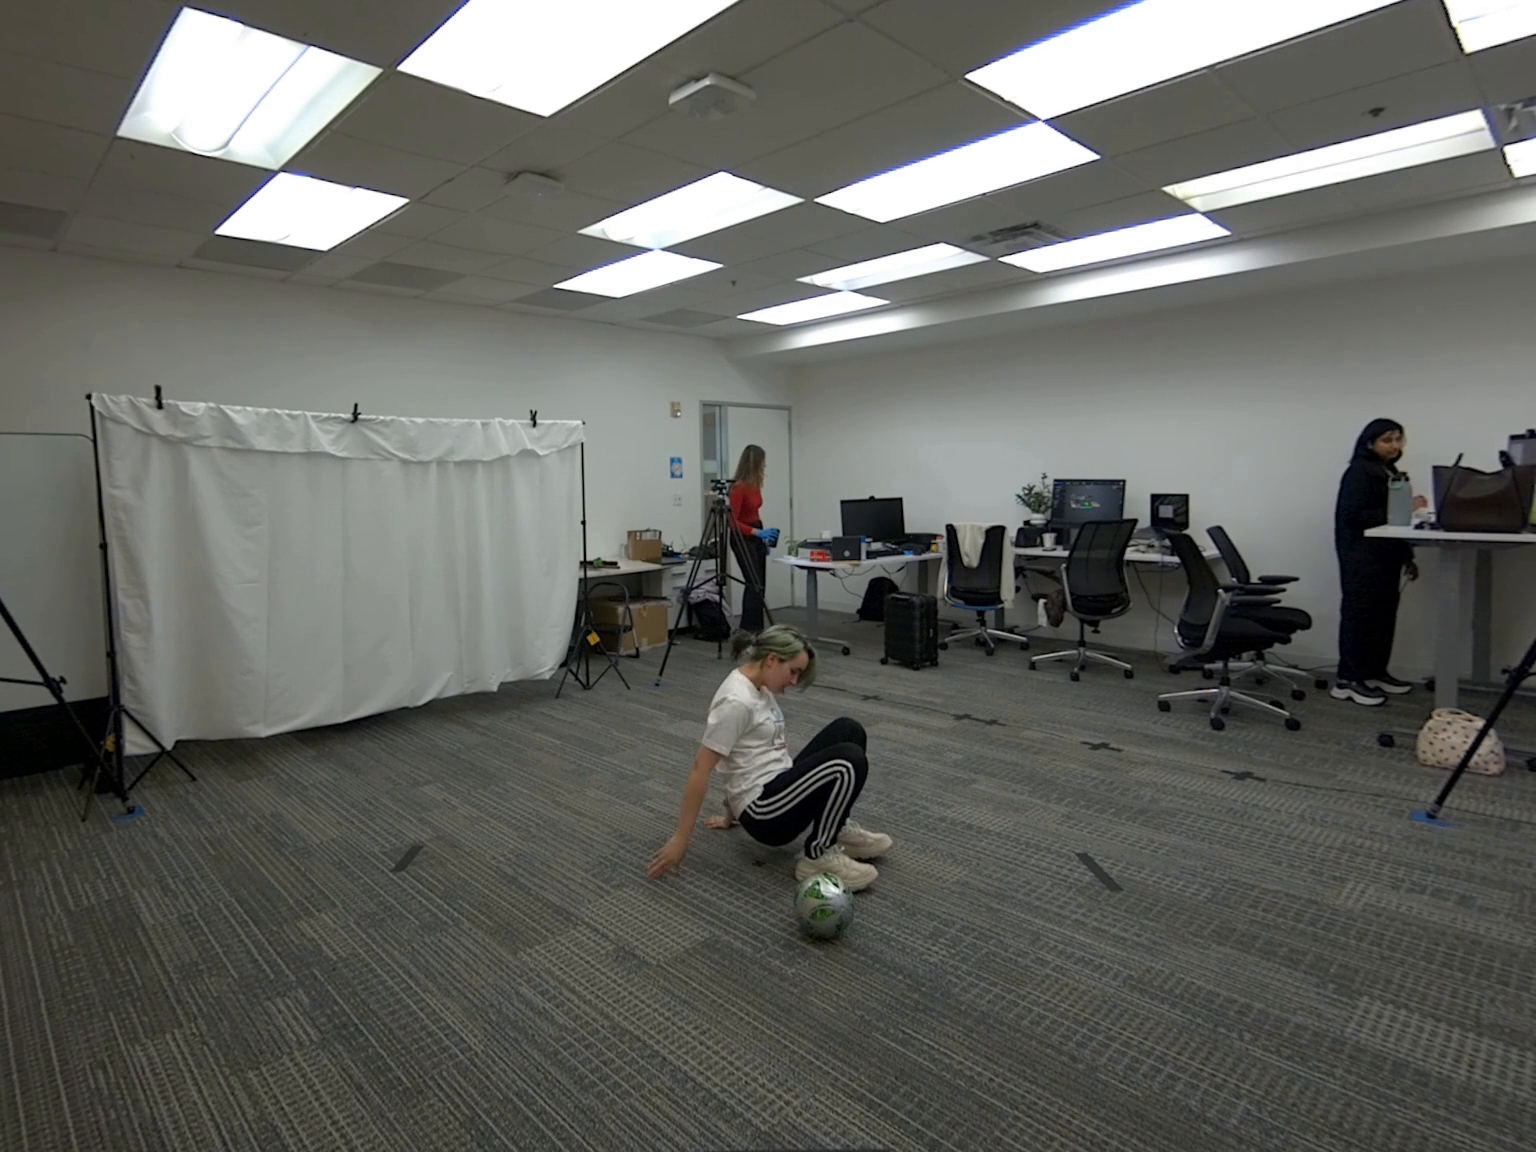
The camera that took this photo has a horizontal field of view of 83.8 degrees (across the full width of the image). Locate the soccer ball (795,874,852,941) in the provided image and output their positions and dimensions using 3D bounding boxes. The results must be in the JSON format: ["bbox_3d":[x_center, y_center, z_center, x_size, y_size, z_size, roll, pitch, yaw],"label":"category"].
[{"bbox_3d":[0.172,1.010,2.615,0.187,0.187,0.188,-1,5,-2],"label":"soccer ball"}]
